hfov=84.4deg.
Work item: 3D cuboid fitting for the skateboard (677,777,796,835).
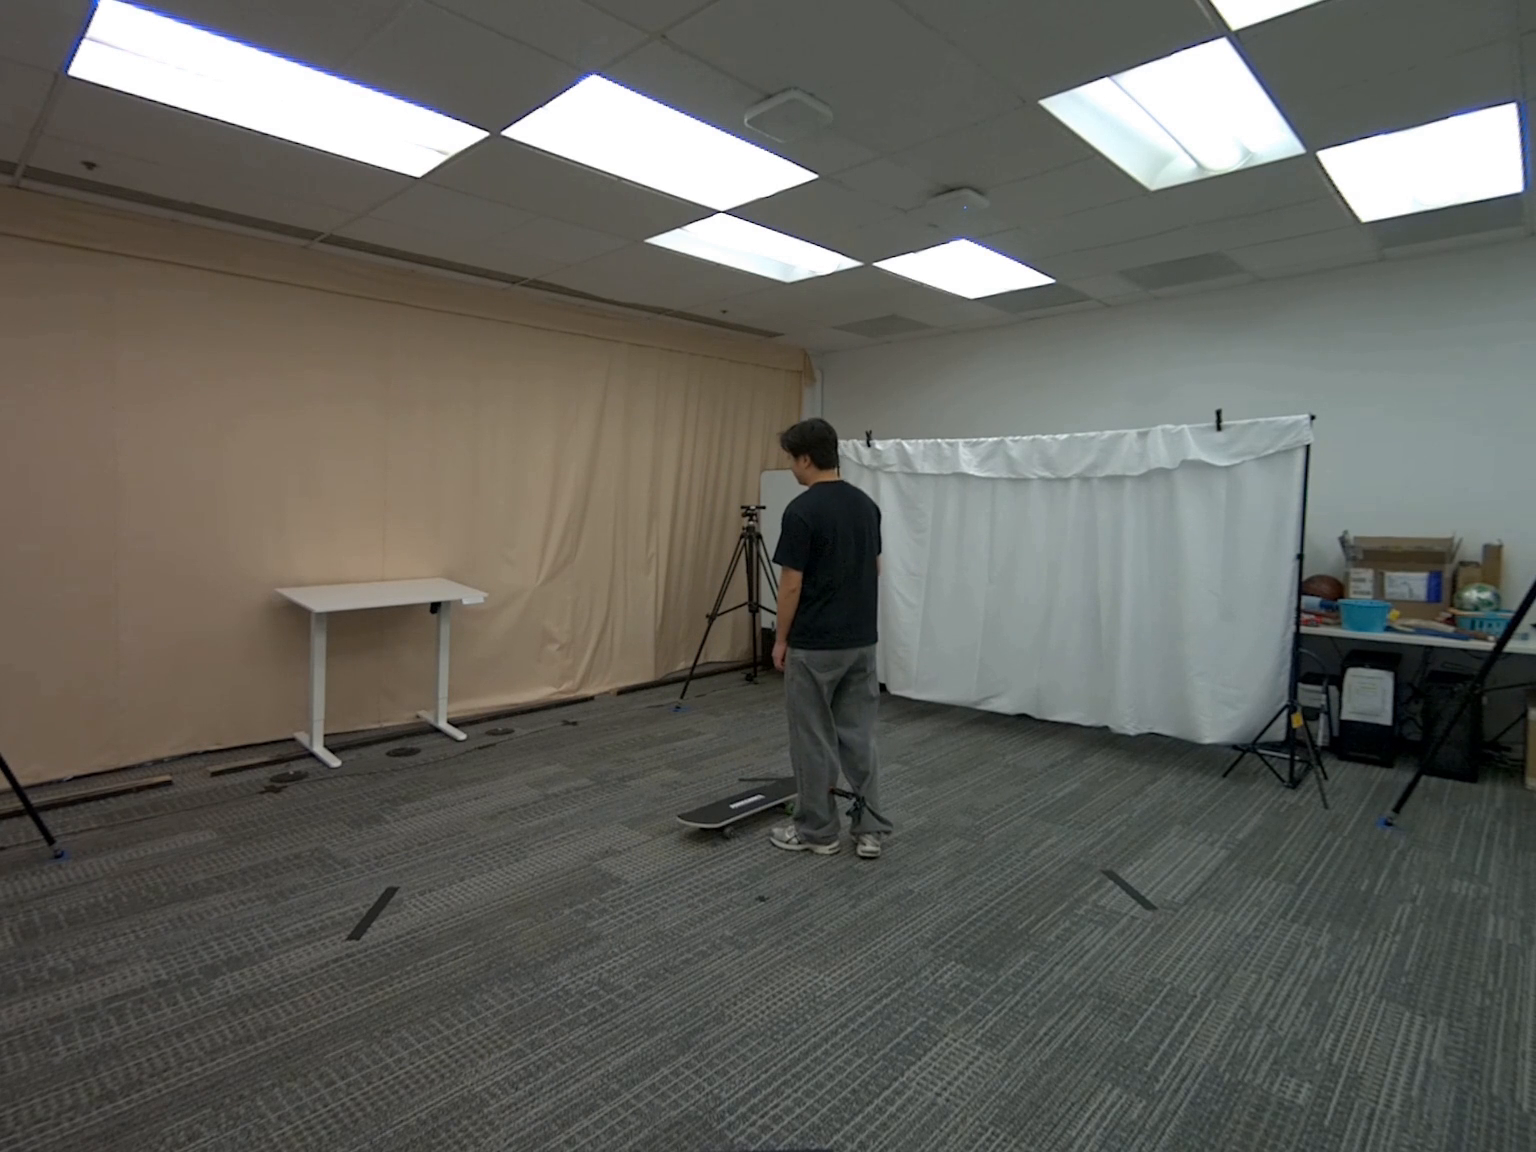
[{"bbox_3d":[-0.089,1.031,3.726,0.200,0.110,0.761,3,5,44],"label":"skateboard"}]
